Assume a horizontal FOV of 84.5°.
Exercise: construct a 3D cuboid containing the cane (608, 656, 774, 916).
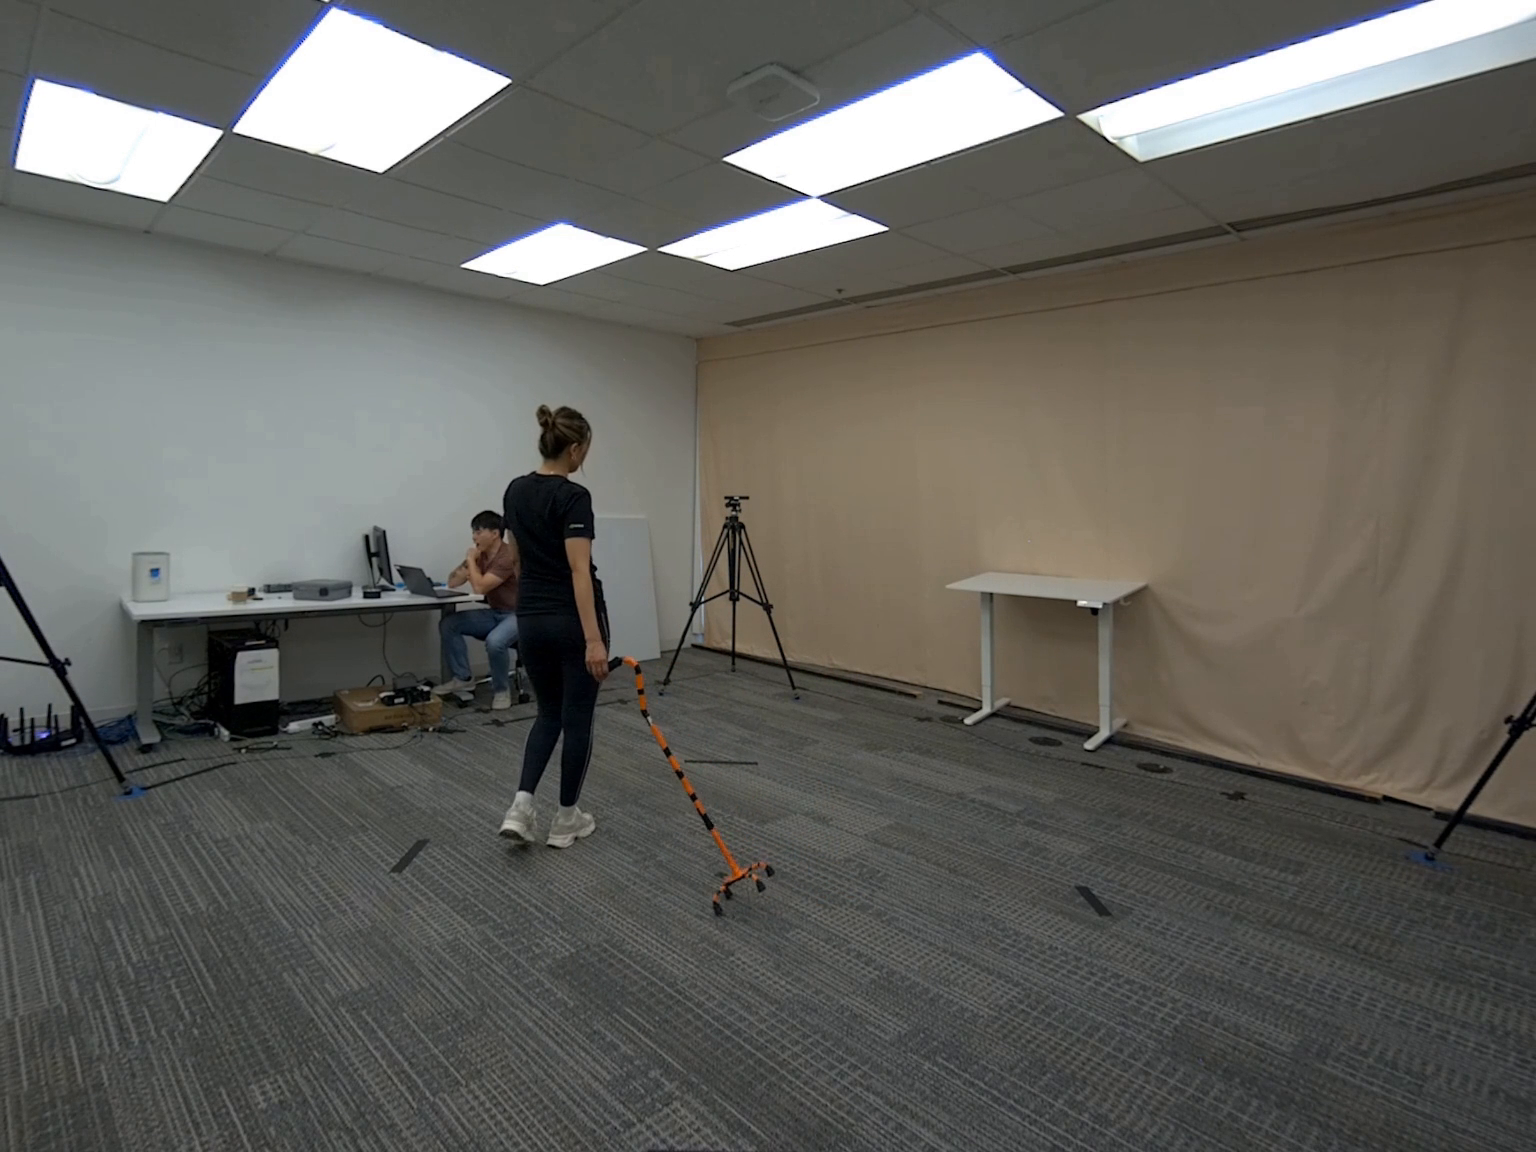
[{"bbox_3d":[-0.314,0.686,2.892,0.207,0.914,0.150,-32,-7,14],"label":"cane"}]
